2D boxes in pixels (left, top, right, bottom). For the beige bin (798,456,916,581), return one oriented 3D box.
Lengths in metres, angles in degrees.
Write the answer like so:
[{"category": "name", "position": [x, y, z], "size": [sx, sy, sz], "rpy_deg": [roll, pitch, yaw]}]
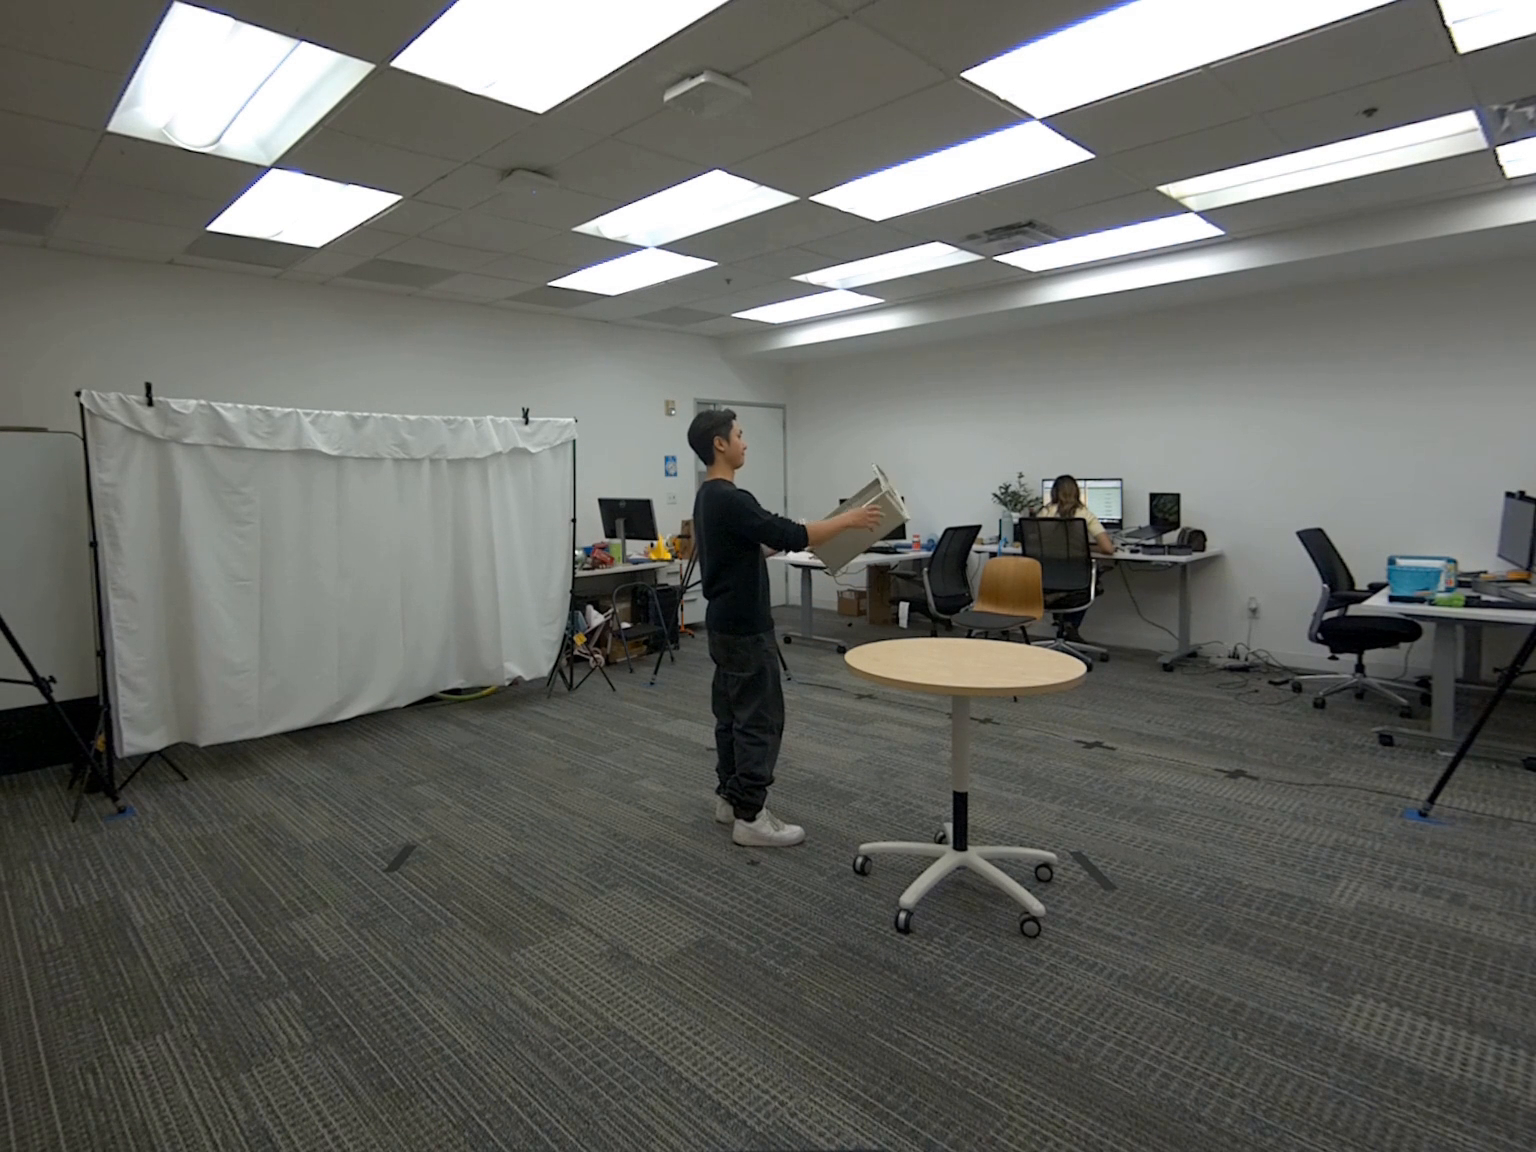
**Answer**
[{"category": "beige bin", "position": [0.370, -0.255, 3.714], "size": [0.424, 0.184, 0.386], "rpy_deg": [-37, 23, 16]}]
